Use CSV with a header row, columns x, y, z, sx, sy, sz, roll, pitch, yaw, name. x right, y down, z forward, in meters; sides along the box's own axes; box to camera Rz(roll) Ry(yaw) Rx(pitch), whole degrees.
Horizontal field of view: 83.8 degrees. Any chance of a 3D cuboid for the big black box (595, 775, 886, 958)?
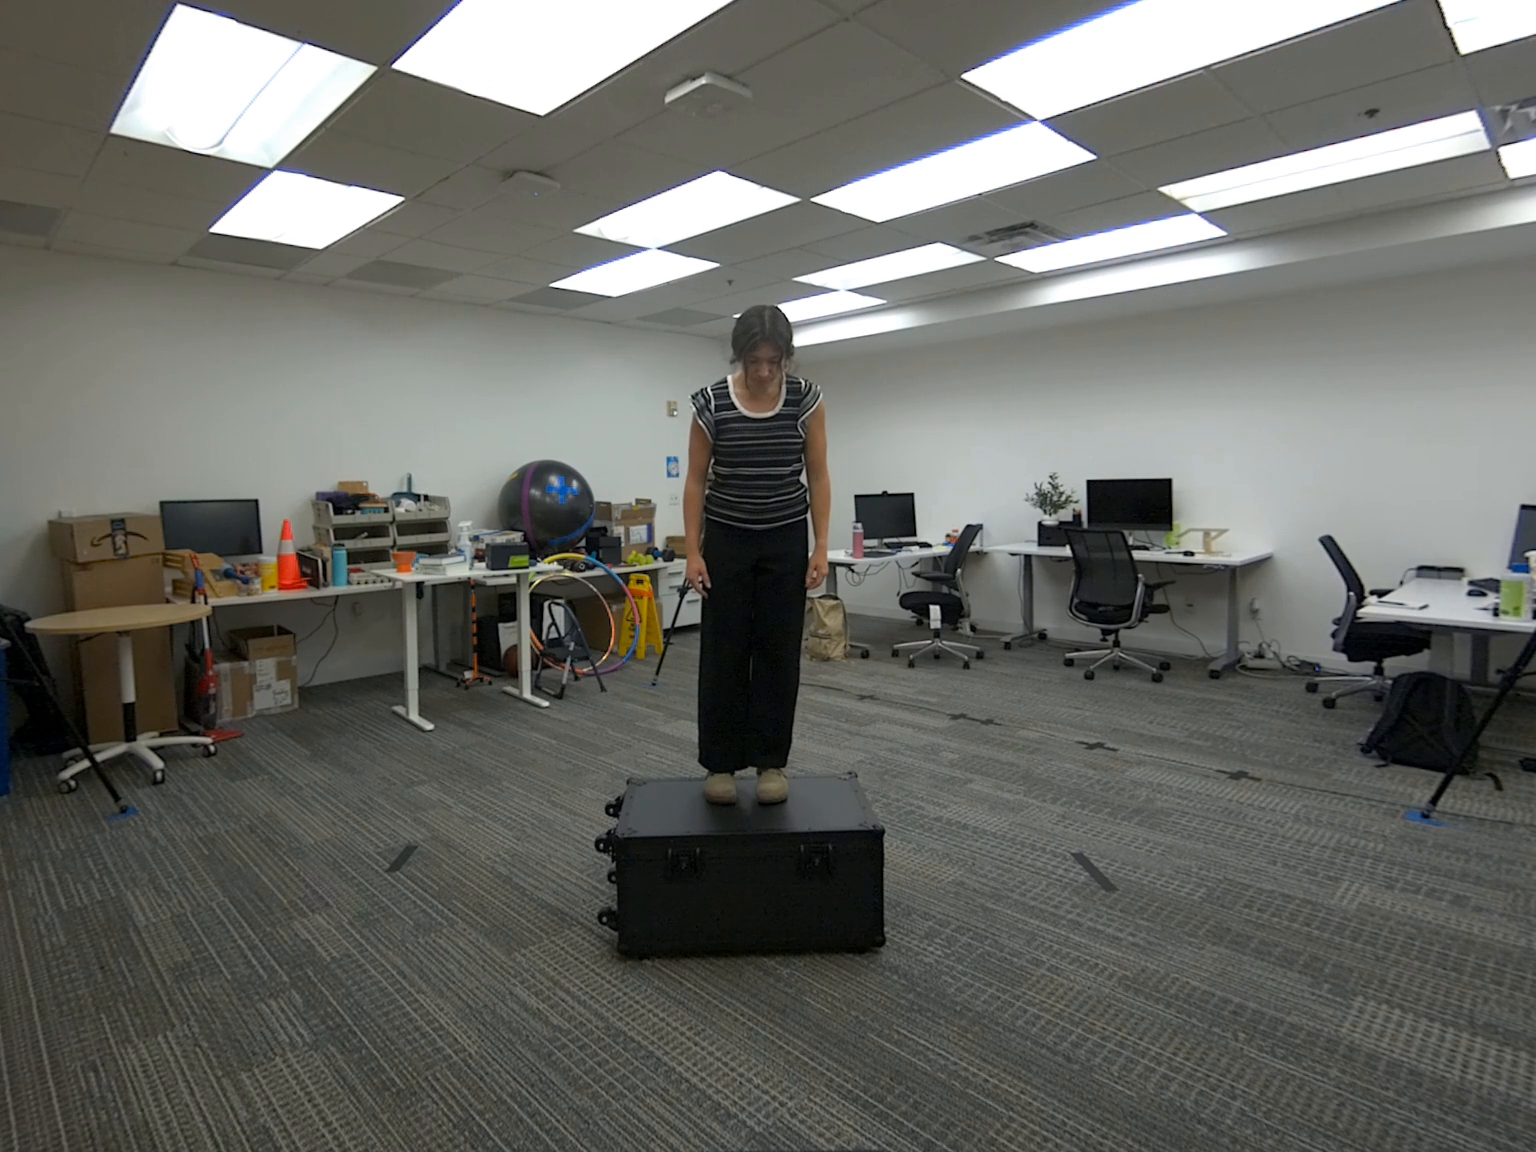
x,y,z,sx,sy,sz,roll,pitch,yaw,name
-0.098,0.900,2.716,0.860,0.395,0.524,-1,5,-3,big black box
